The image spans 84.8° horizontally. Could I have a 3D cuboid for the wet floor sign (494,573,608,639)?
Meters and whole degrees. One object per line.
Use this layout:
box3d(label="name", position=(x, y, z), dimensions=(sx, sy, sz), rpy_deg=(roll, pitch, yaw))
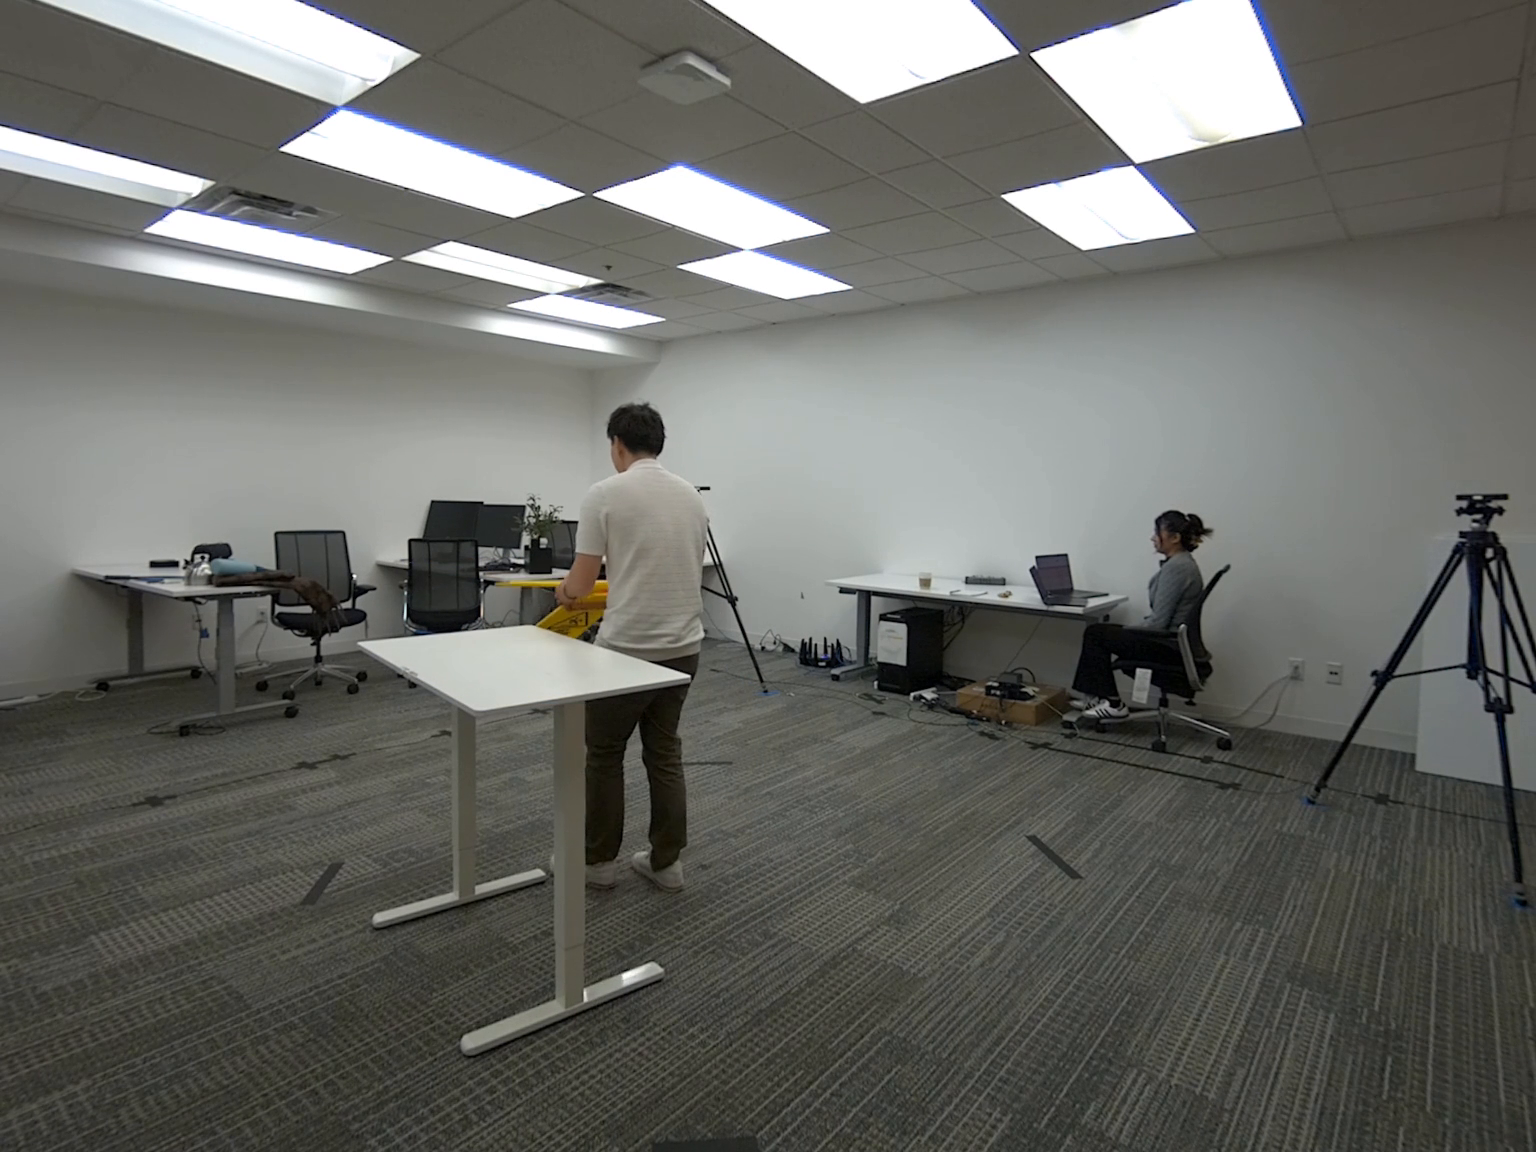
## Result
box3d(label="wet floor sign", position=(-0.797, 0.103, 3.278), dimensions=(0.274, 0.293, 0.658), rpy_deg=(-2, -12, -41))
